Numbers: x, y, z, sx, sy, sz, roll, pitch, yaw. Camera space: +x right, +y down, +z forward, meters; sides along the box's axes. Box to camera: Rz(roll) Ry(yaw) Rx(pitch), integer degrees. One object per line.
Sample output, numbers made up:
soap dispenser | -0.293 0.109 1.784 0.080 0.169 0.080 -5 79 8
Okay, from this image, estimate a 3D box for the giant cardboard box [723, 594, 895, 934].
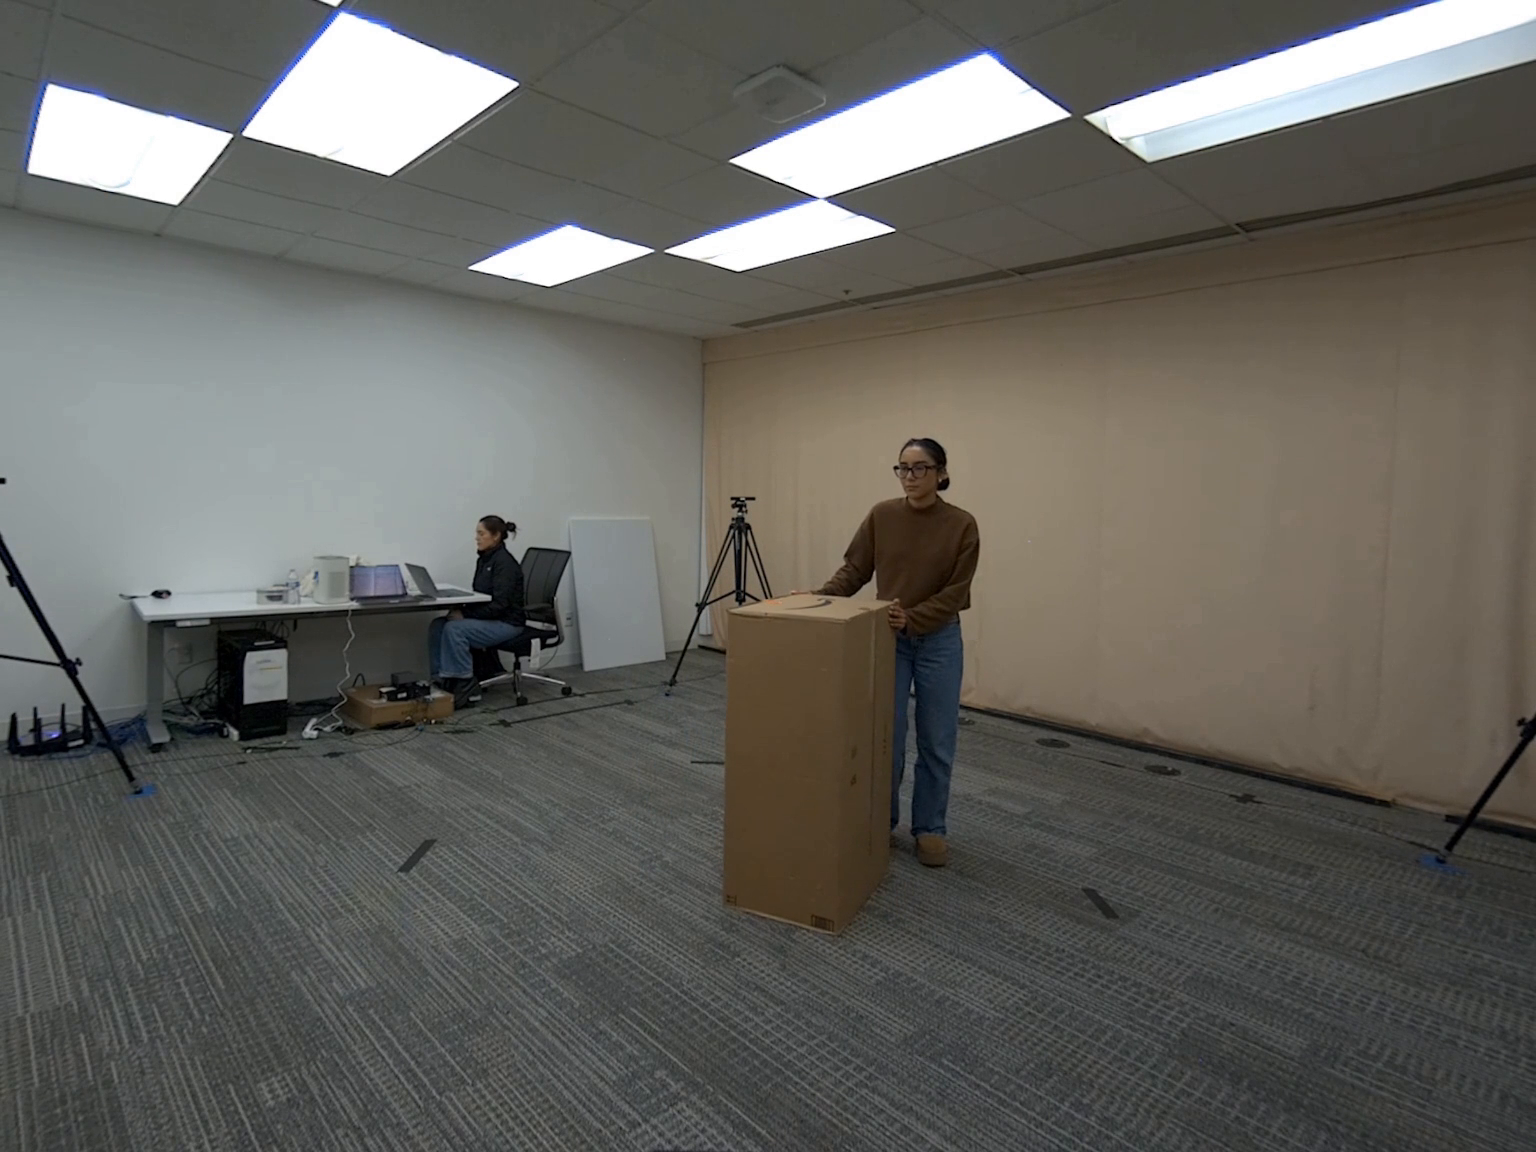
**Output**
giant cardboard box | 0.150 0.612 2.996 0.435 1.023 0.567 3 4 27
